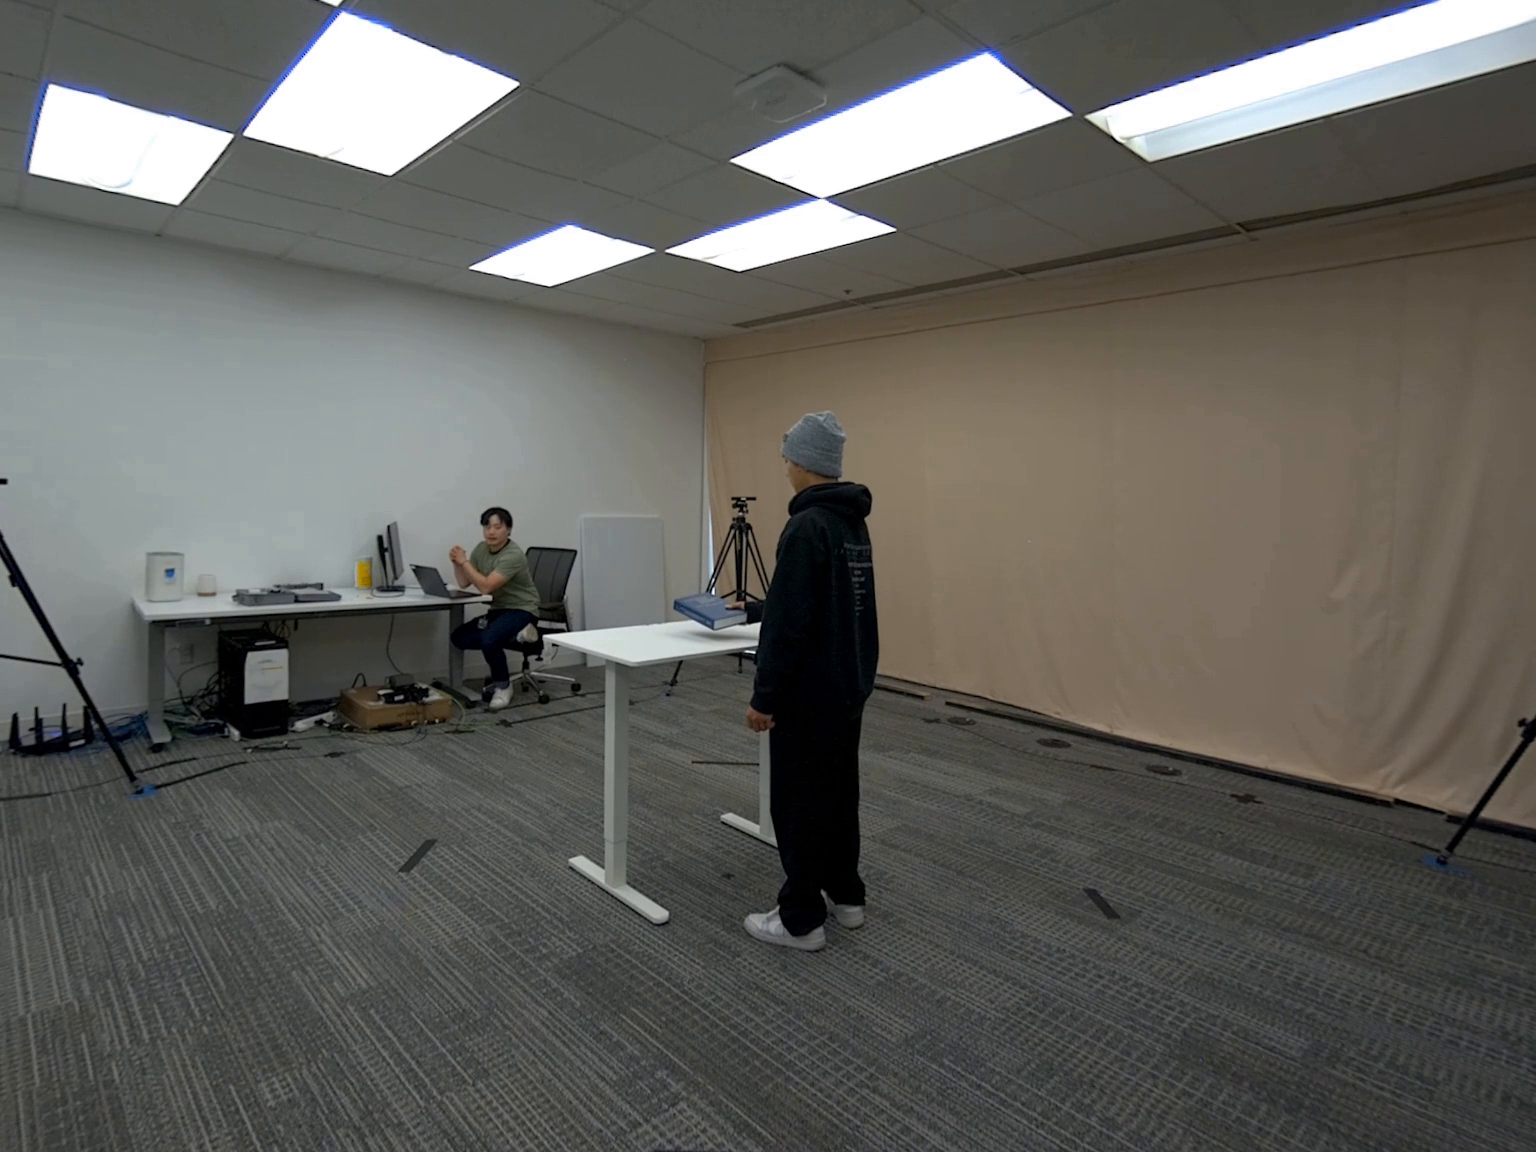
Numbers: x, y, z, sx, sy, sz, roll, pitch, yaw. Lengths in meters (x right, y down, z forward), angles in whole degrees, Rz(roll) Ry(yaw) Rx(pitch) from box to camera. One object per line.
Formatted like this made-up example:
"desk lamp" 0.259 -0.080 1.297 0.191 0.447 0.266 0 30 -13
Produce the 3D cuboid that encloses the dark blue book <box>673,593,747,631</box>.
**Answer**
"dark blue book" -0.228 0.132 3.103 0.160 0.045 0.252 -10 23 -38
